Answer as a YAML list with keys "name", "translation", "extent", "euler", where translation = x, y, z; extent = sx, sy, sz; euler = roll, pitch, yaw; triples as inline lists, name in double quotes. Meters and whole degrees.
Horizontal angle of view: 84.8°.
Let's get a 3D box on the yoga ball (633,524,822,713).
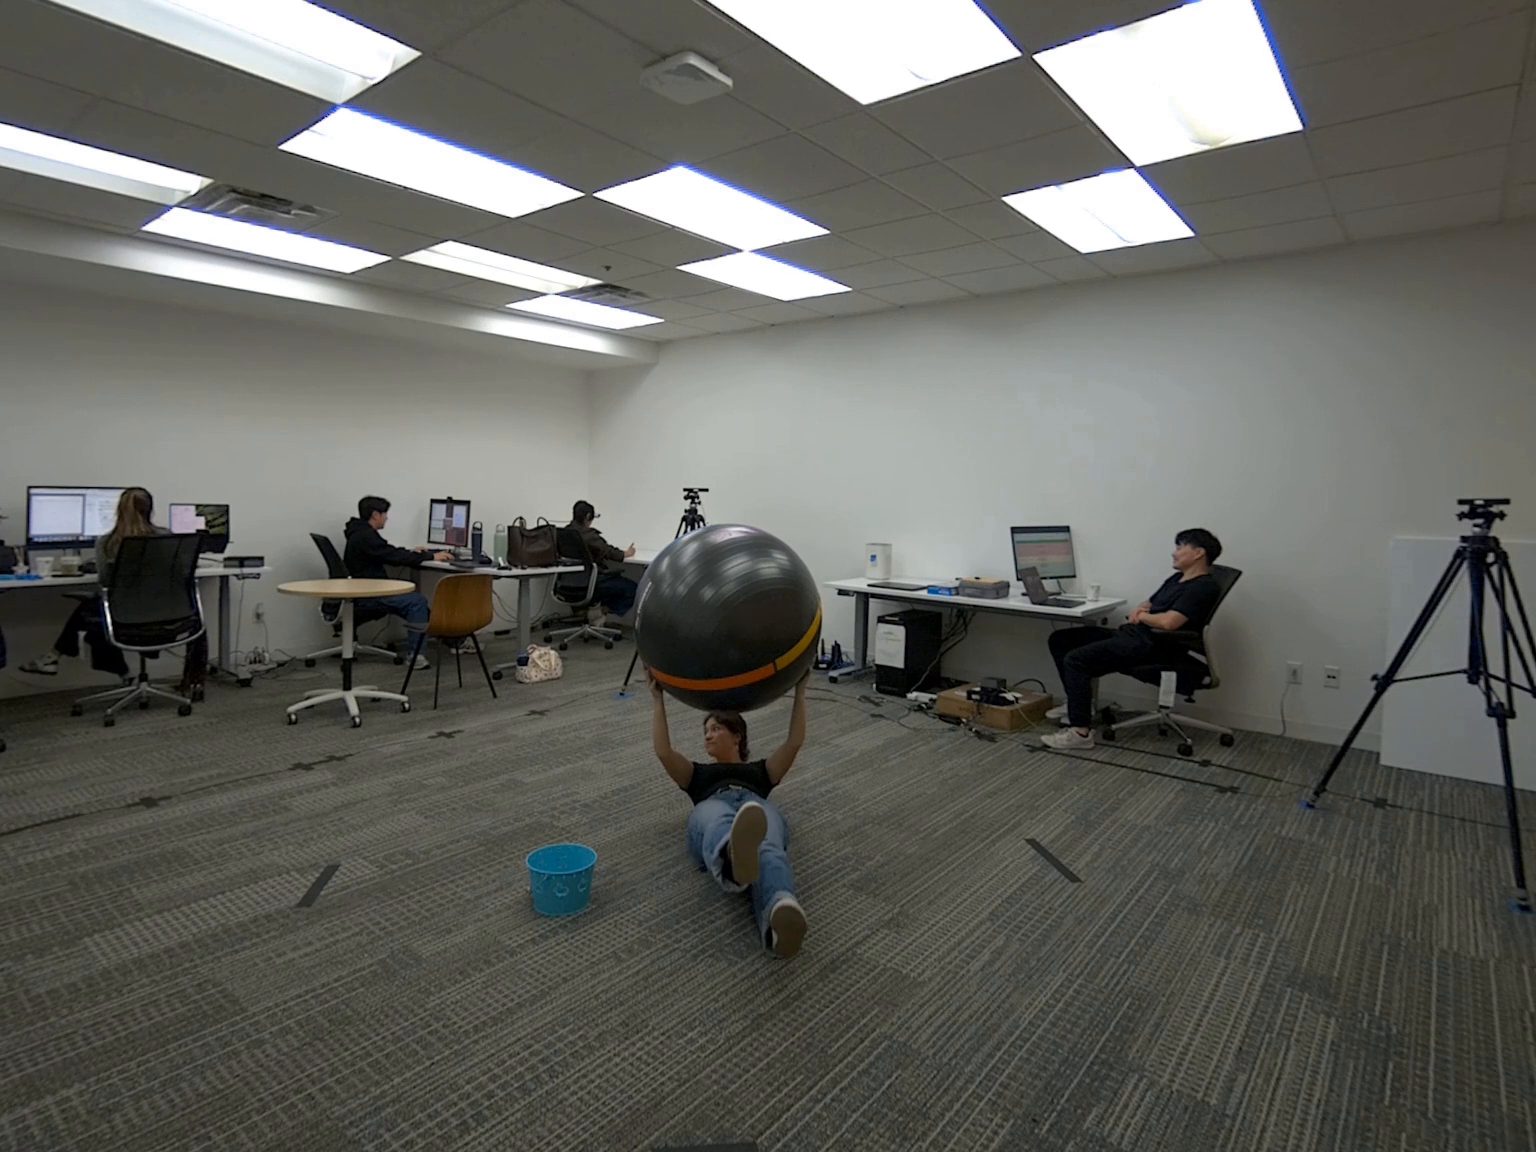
- name: "yoga ball"
  translation: [-0.171, 0.168, 3.421]
  extent: [0.757, 0.755, 0.762]
  euler: [1, 4, -2]
